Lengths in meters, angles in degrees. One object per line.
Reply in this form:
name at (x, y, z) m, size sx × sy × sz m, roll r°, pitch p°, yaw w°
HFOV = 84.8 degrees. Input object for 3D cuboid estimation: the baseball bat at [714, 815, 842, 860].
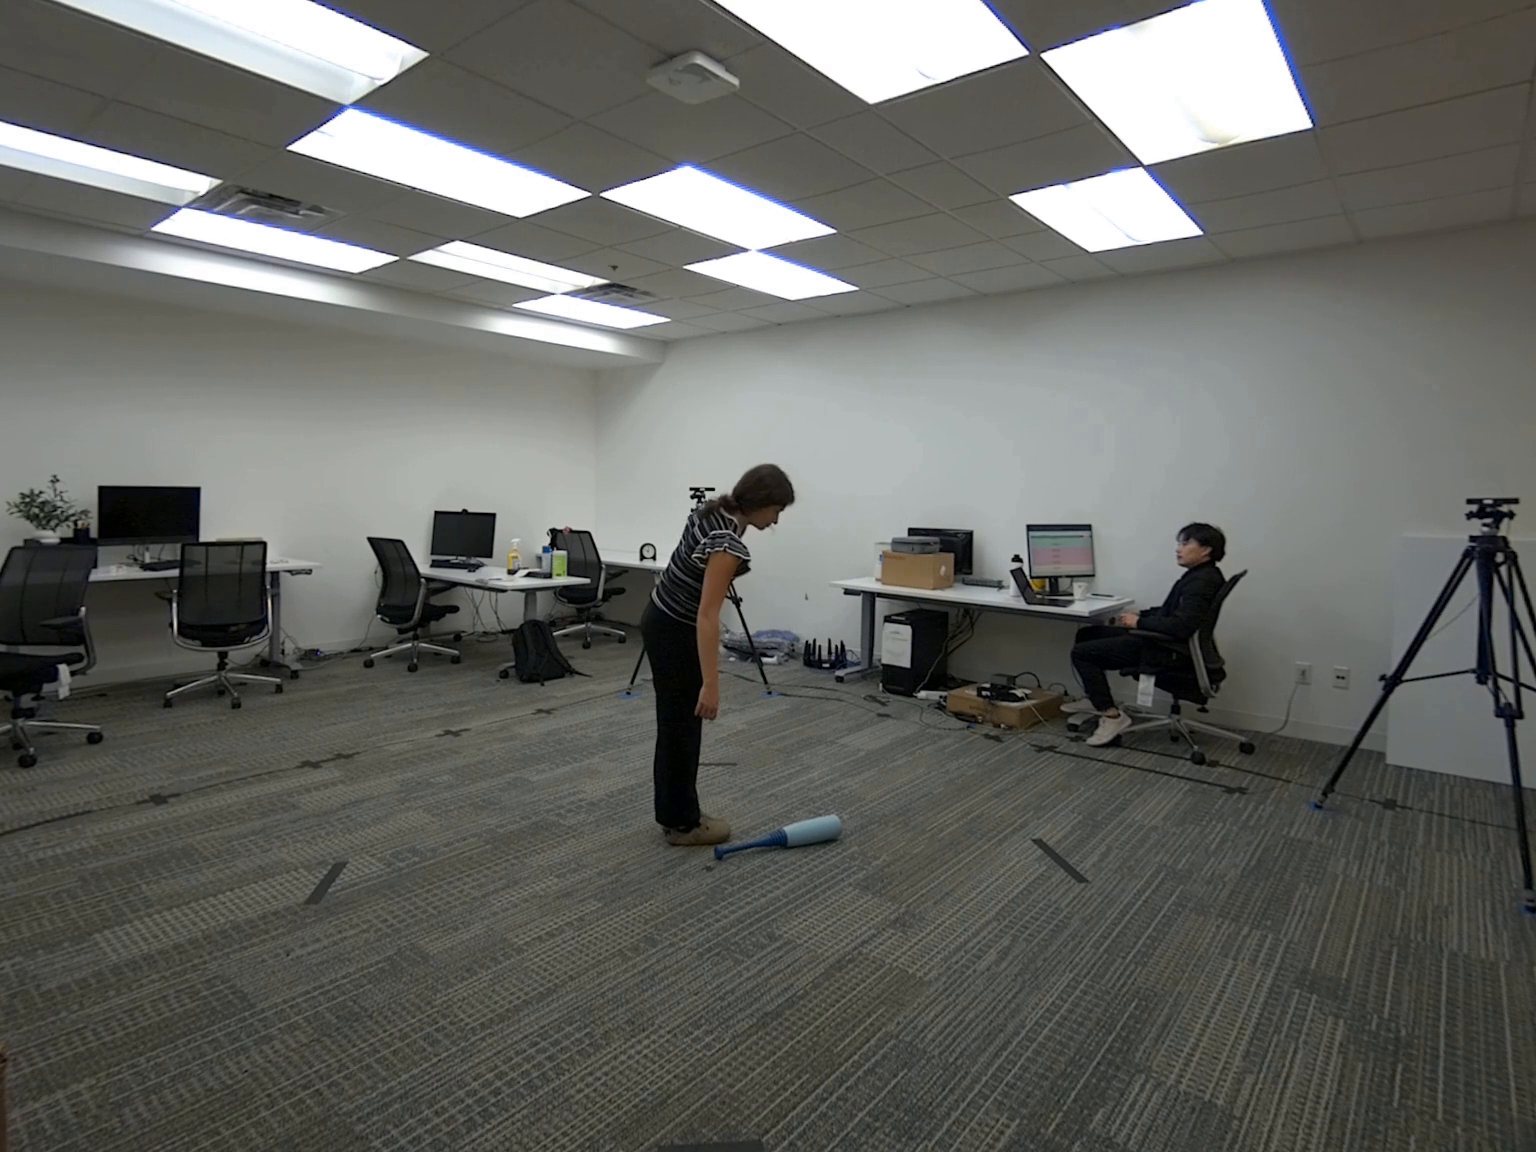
baseball bat at (0.036, 1.016, 3.300) m, size 0.531 × 0.088 × 0.091 m, roll -4°, pitch 6°, yaw -25°
